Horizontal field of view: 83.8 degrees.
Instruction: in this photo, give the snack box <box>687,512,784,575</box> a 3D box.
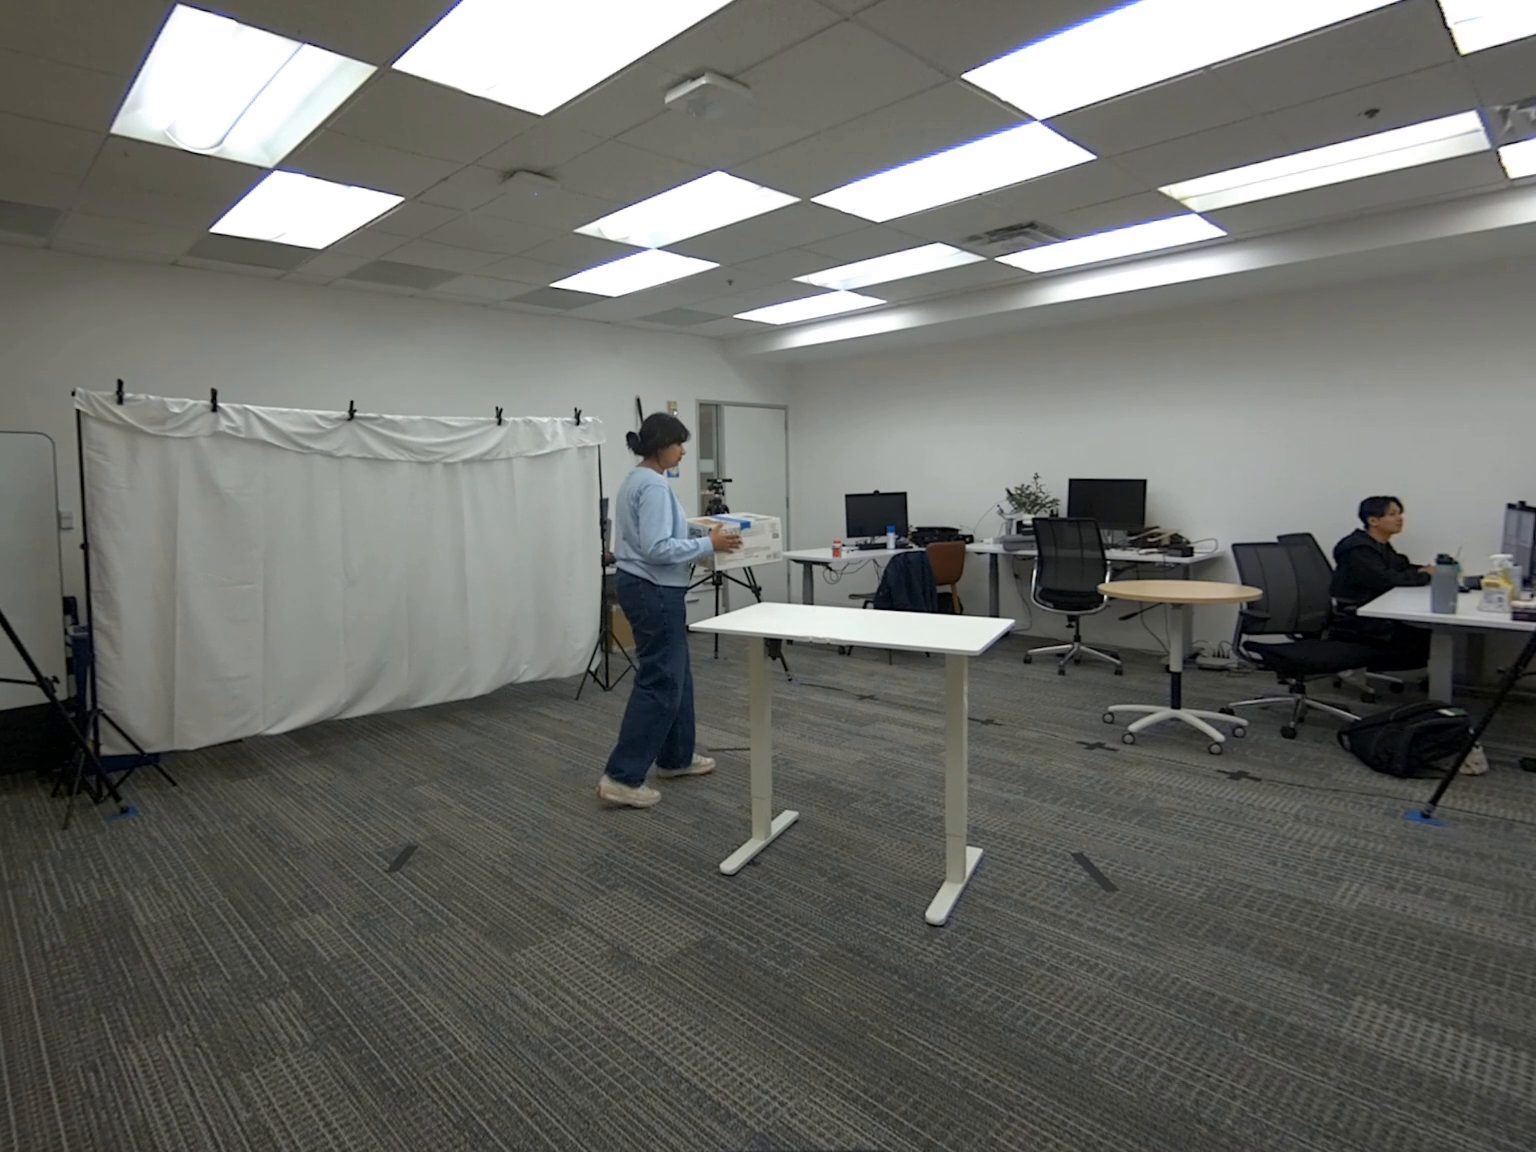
[{"bbox_3d":[-0.180,-0.163,3.996,0.334,0.204,0.416,-9,11,-24],"label":"snack box"}]
